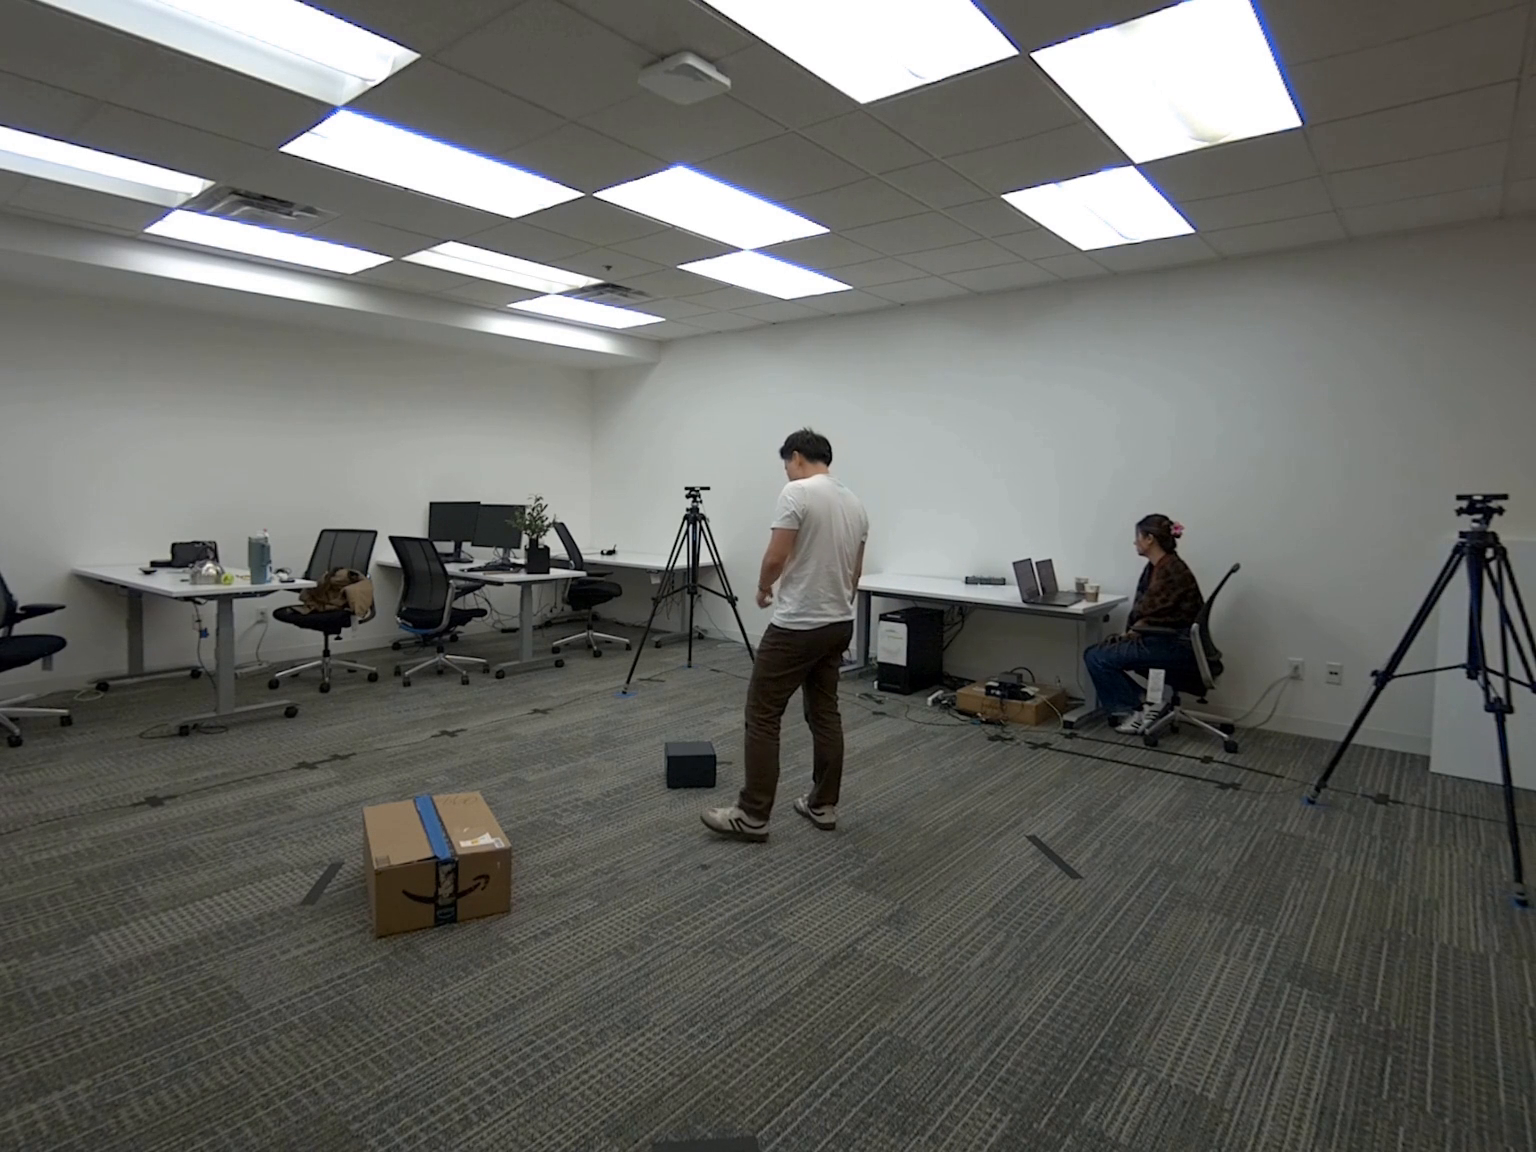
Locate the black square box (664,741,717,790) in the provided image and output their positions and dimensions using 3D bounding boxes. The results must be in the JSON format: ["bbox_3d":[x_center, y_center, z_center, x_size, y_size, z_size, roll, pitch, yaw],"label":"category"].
[{"bbox_3d":[-0.384,0.885,4.043,0.226,0.155,0.220,0,5,-9],"label":"black square box"}]
